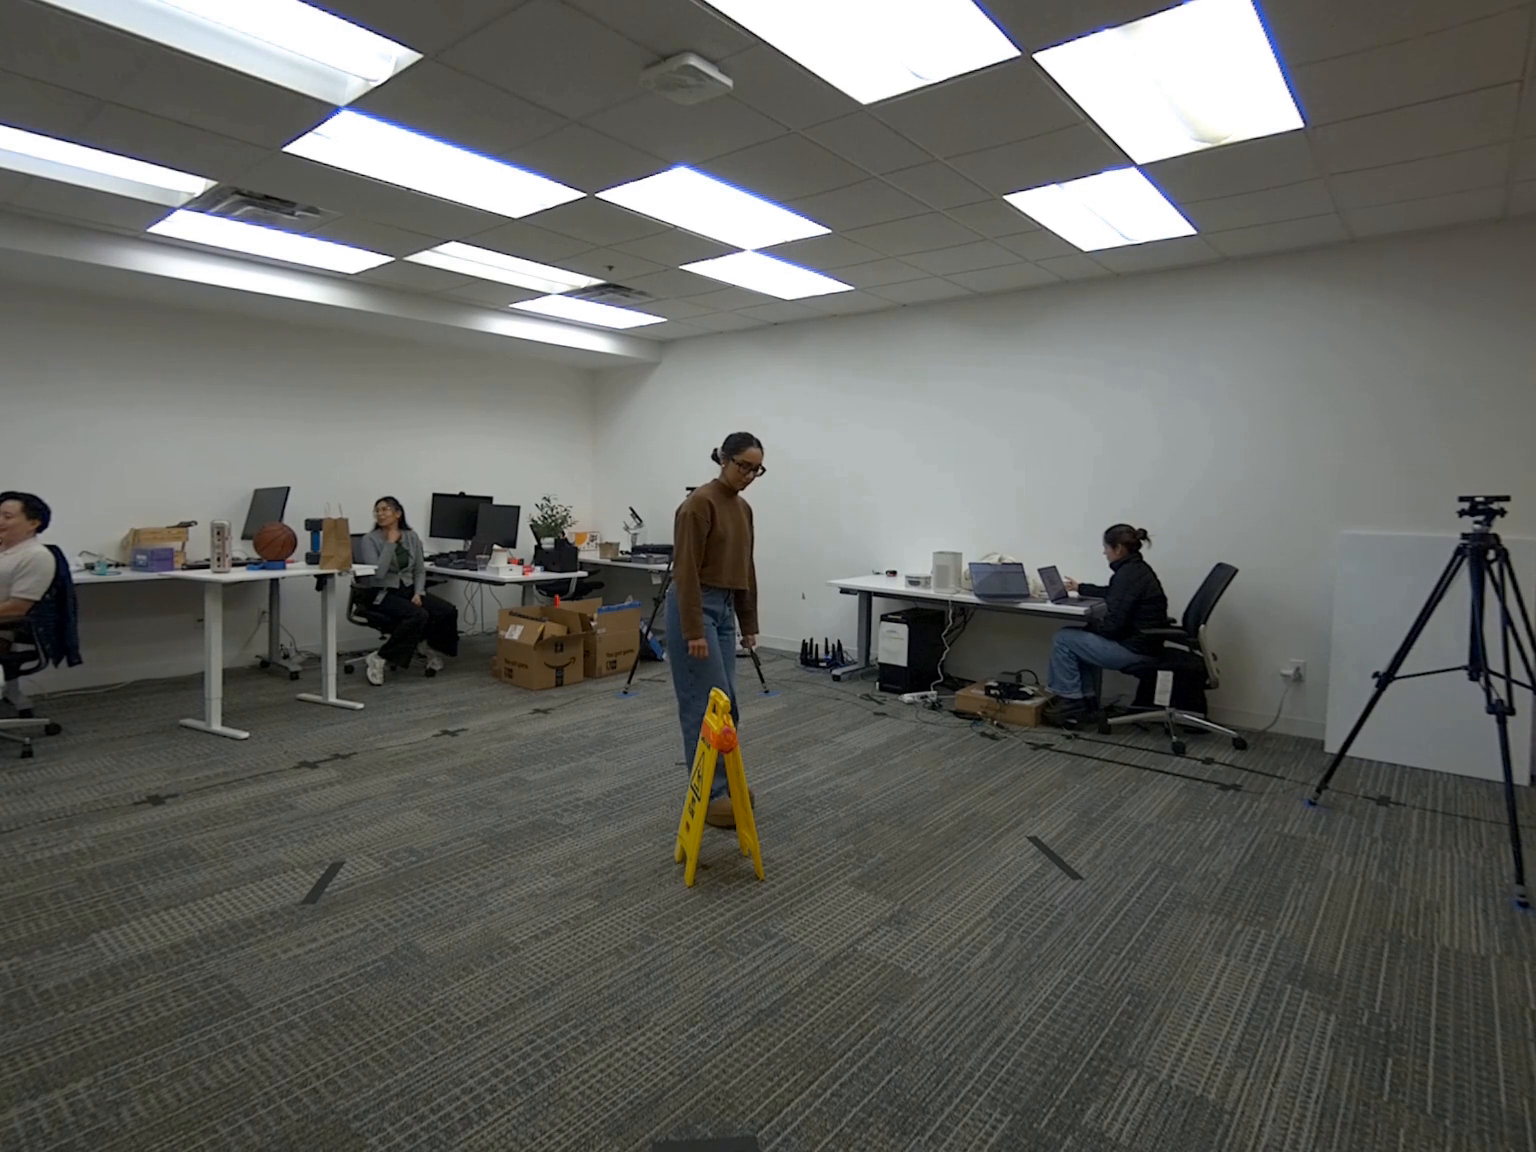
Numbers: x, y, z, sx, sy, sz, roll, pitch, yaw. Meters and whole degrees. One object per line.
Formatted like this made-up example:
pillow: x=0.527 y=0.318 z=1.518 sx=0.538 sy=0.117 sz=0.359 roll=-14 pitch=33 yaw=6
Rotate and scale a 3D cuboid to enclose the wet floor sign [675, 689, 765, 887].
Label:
wet floor sign: x=-0.188 y=0.741 z=3.100 sx=0.285 sy=0.644 sz=0.288 roll=0 pitch=4 yaw=-16
